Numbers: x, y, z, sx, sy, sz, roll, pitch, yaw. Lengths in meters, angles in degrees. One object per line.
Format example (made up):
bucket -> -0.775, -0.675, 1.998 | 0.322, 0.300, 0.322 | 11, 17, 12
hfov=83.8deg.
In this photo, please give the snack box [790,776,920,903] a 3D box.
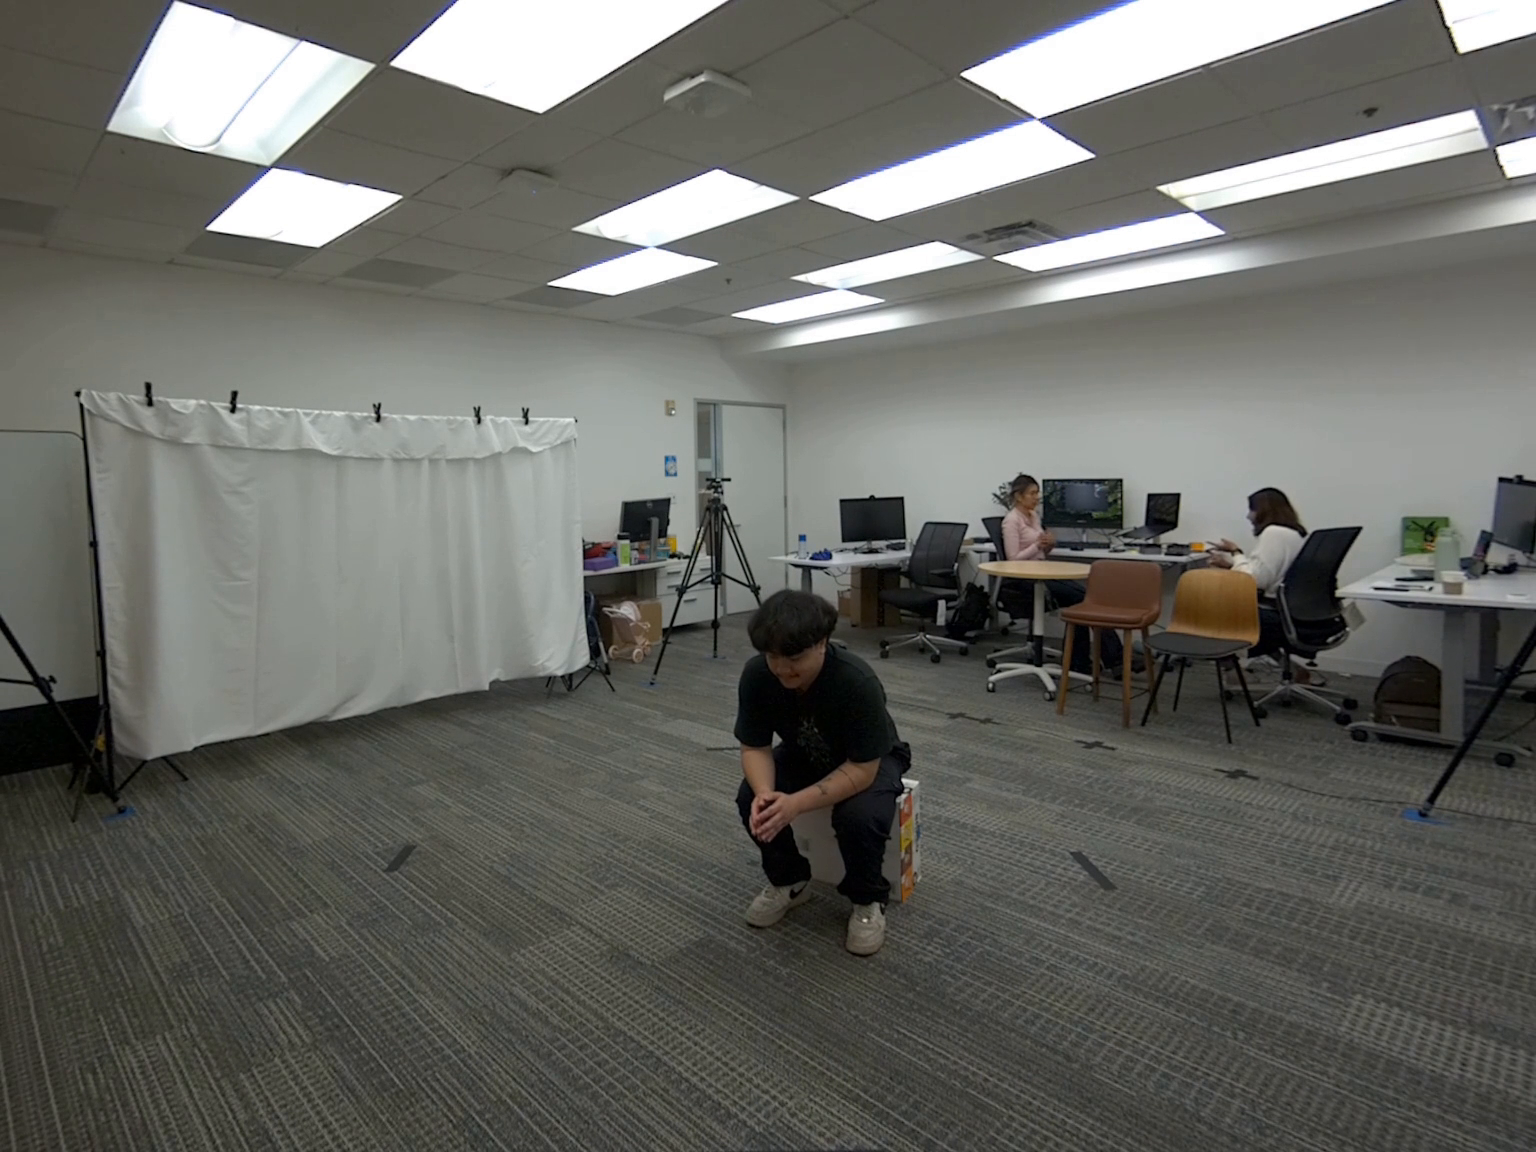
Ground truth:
snack box -> 0.308, 0.883, 2.978 | 0.416, 0.339, 0.201 | 1, 4, 30
